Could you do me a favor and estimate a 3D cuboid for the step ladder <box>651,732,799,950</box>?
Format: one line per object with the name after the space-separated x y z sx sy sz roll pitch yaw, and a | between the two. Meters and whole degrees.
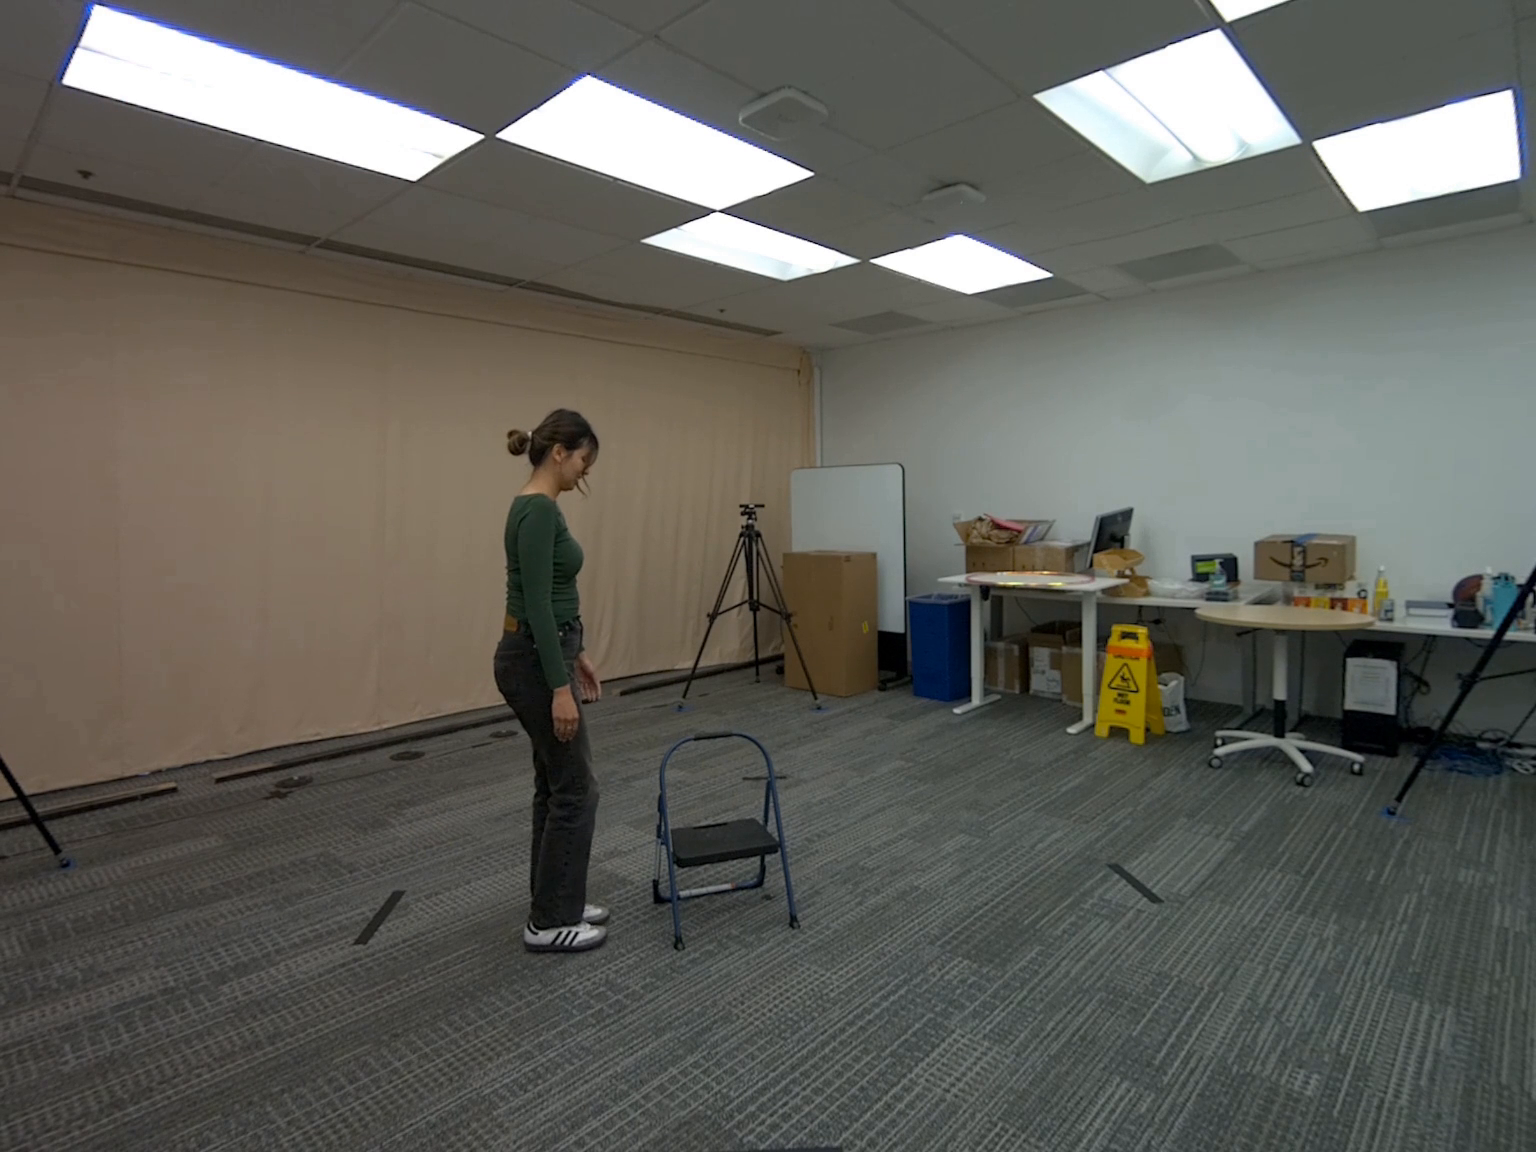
-0.154 0.851 2.852 0.422 0.605 0.357 -2 3 -20 | step ladder
